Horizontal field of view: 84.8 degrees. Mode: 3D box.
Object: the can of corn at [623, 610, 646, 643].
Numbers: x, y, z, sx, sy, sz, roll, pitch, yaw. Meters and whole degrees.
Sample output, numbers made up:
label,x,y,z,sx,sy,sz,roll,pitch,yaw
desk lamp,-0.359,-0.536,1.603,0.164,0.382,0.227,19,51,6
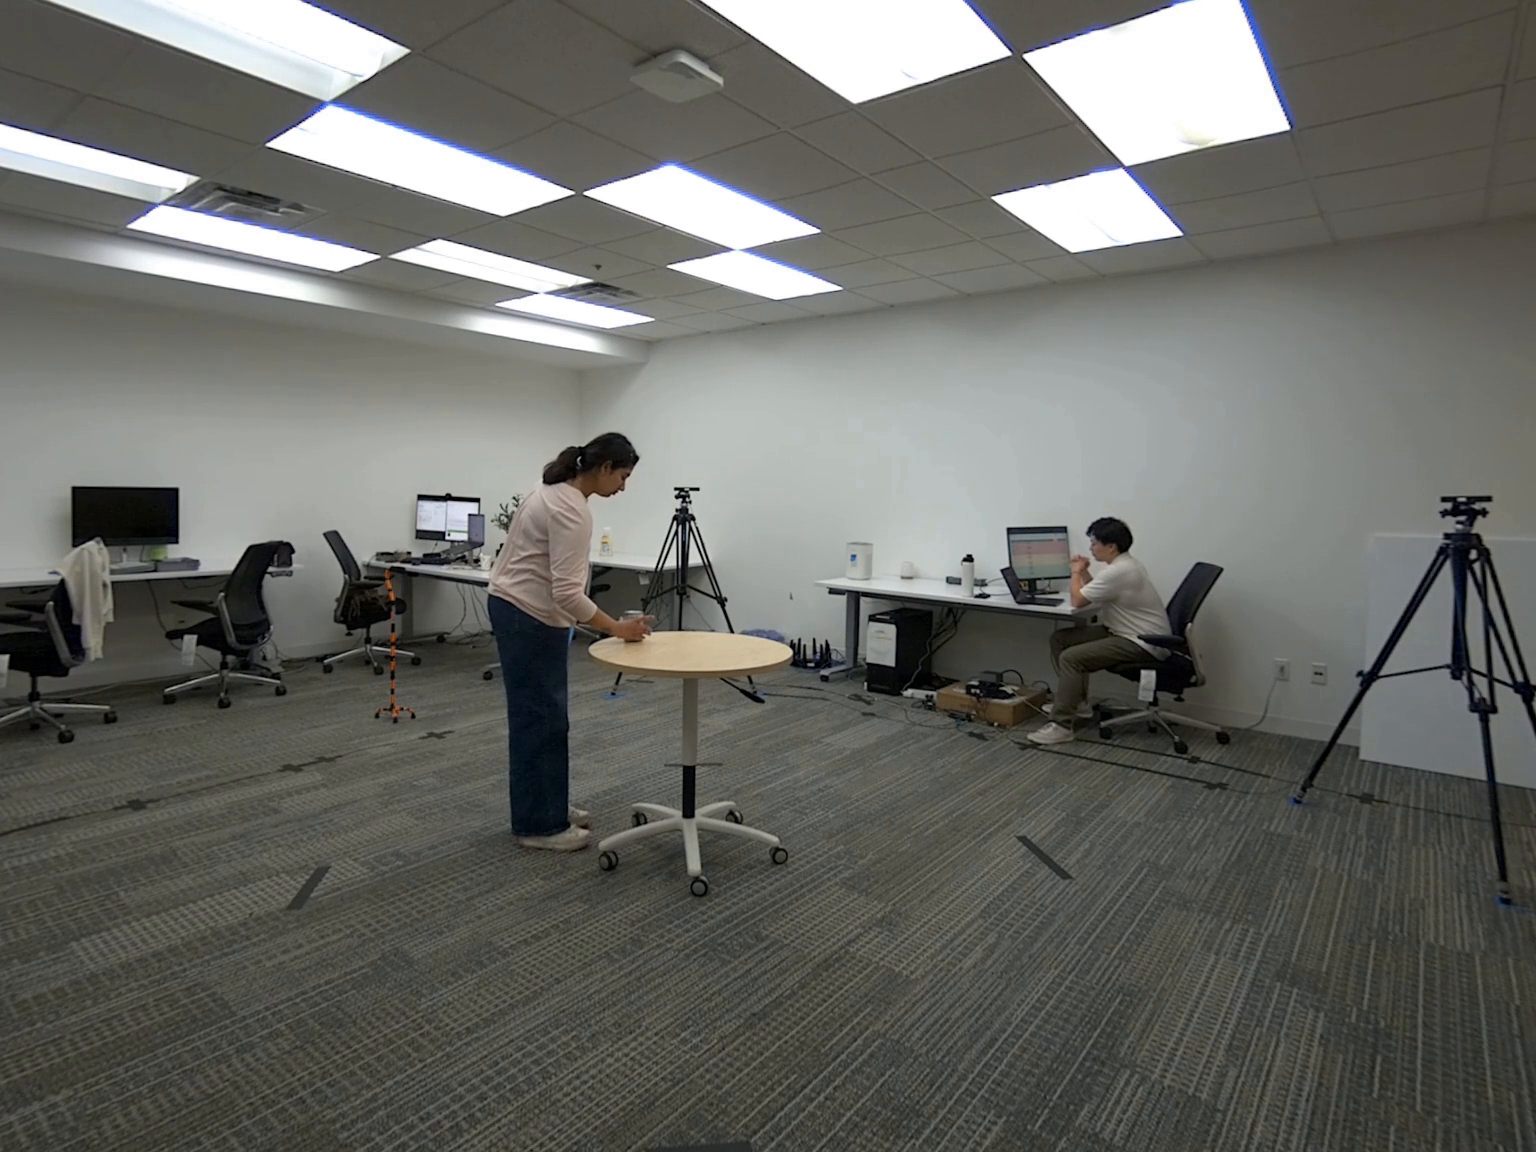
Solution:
label,x,y,z,sx,sy,sz,roll,pitch,yaw
can of corn,-0.531,0.198,3.340,0.074,0.111,0.074,-2,3,-2
